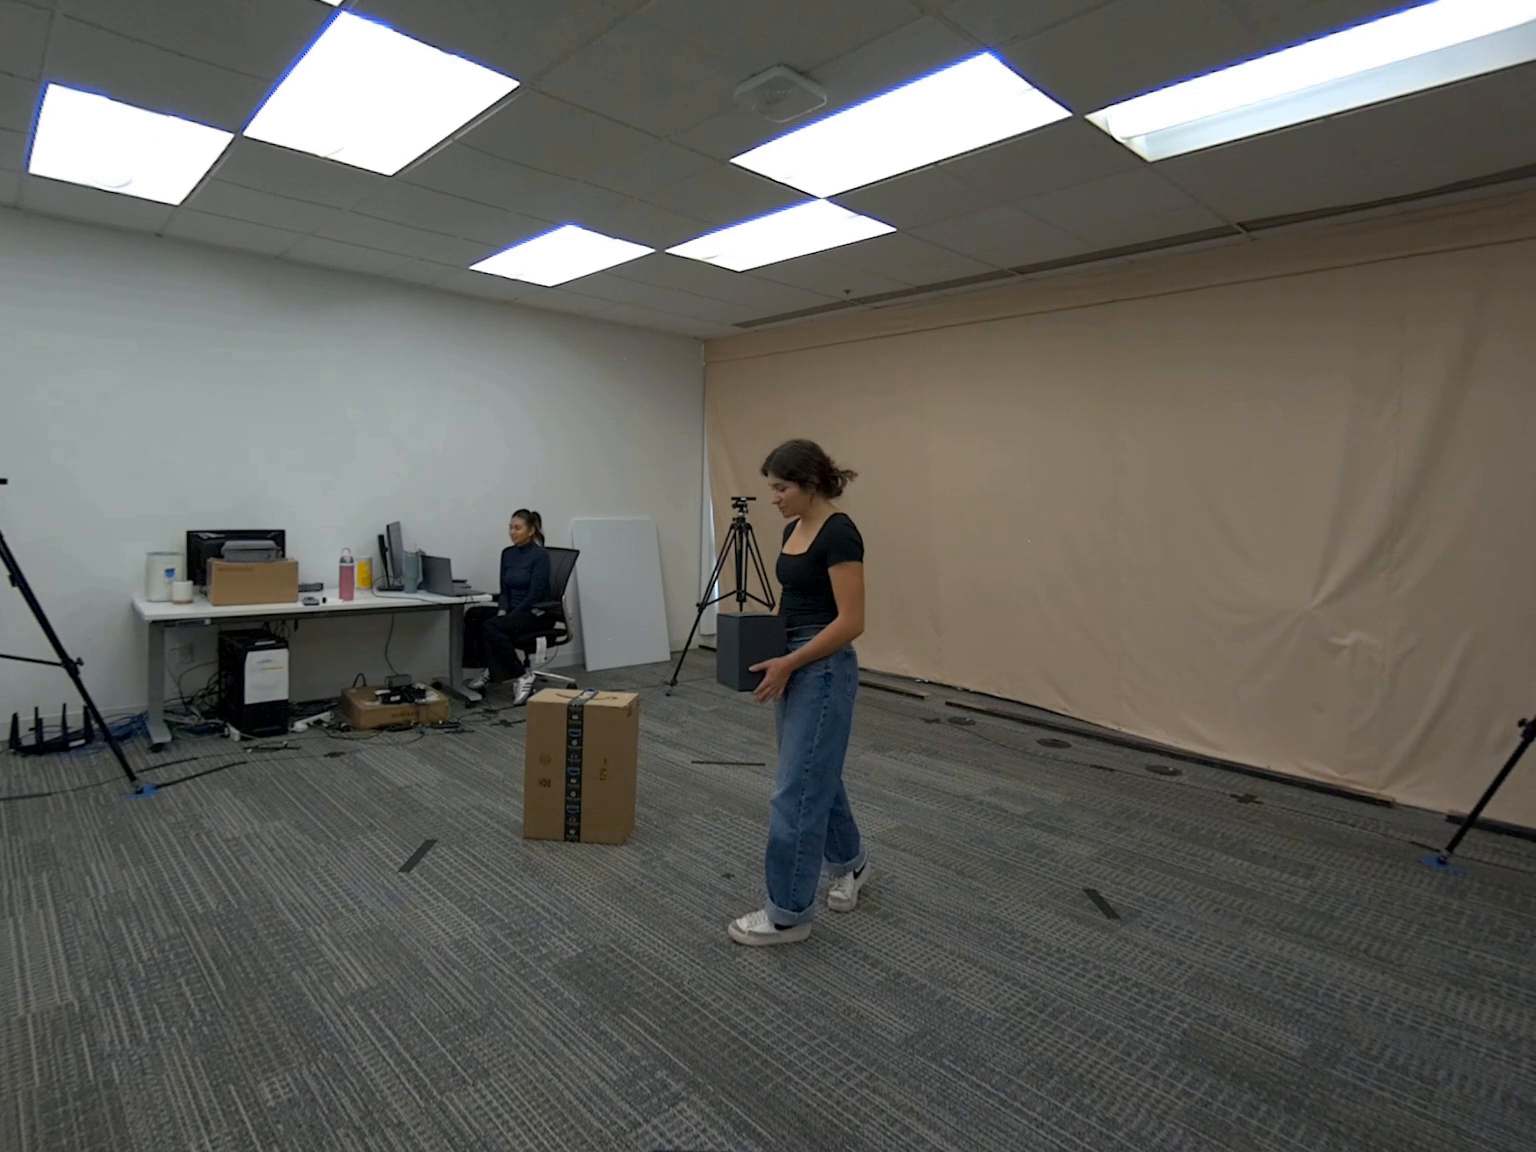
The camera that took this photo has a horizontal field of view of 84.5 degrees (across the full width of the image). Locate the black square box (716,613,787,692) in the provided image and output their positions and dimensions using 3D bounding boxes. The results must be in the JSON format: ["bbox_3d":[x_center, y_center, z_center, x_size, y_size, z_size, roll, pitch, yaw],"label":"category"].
[{"bbox_3d":[-0.064,0.230,2.666,0.153,0.228,0.220,-2,1,-20],"label":"black square box"}]
